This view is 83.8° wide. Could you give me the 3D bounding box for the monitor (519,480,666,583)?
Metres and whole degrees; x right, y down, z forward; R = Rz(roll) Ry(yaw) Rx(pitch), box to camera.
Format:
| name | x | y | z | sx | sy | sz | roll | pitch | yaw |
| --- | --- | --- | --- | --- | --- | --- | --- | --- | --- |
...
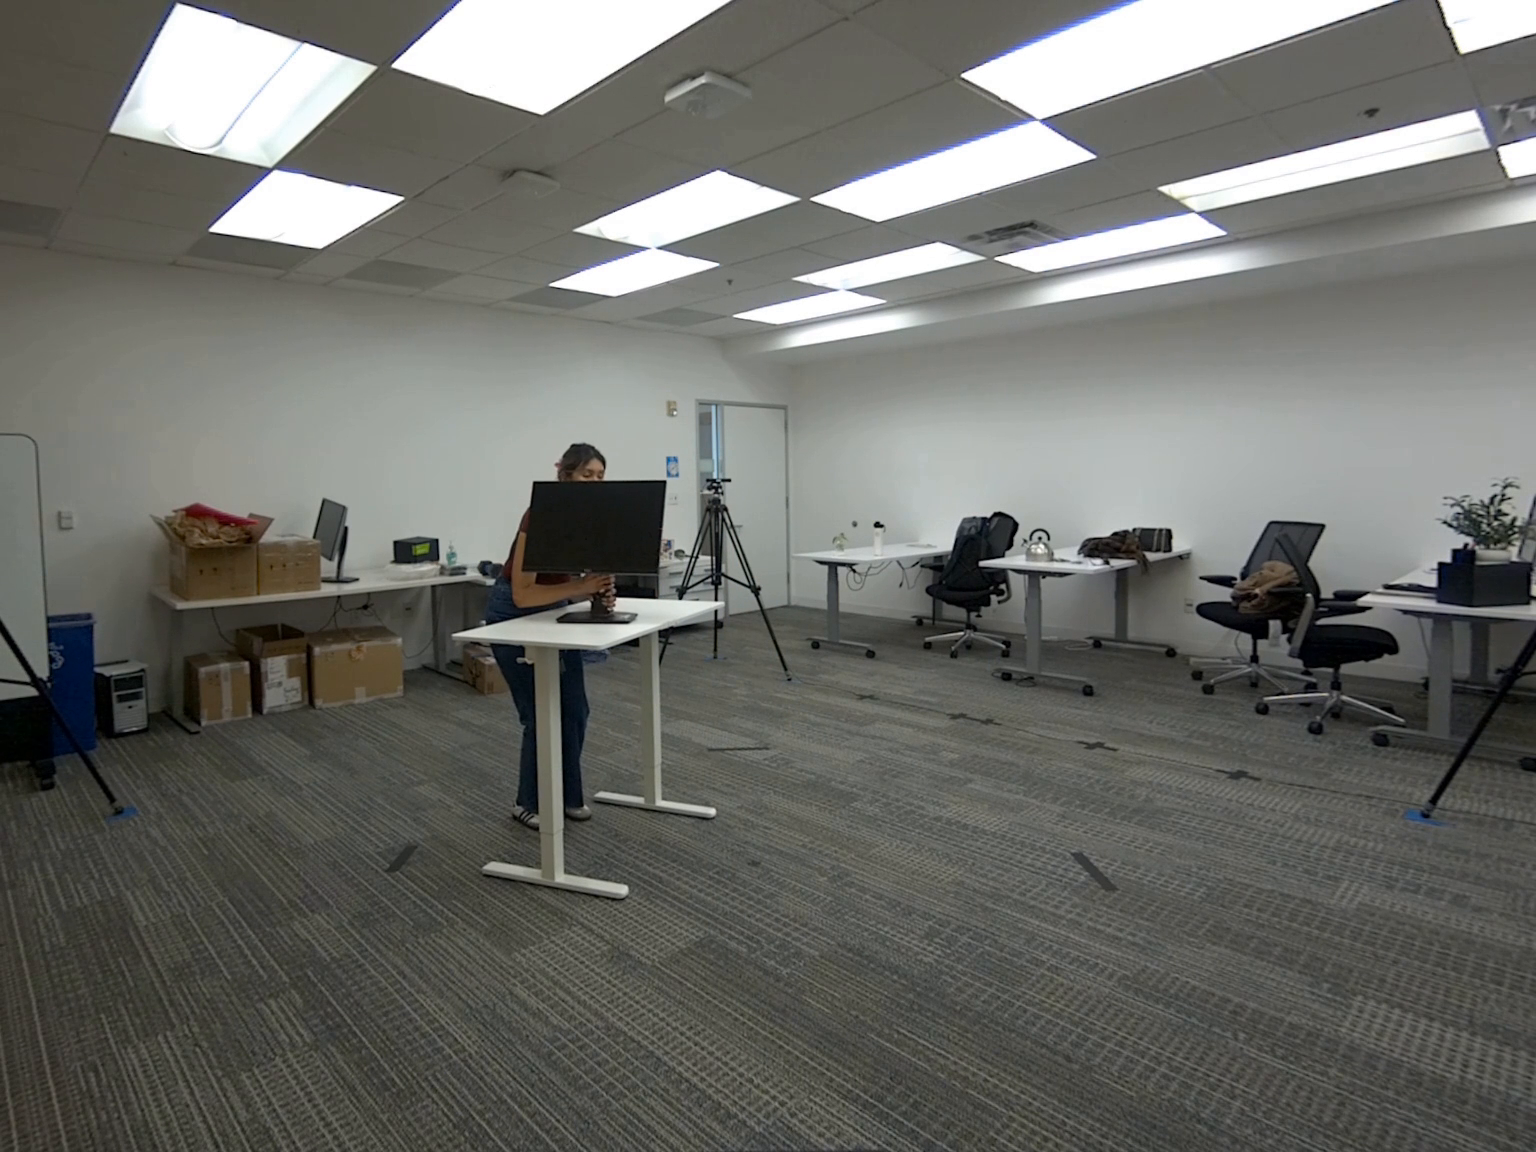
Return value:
| name | x | y | z | sx | sy | sz | roll | pitch | yaw |
| --- | --- | --- | --- | --- | --- | --- | --- | --- | --- |
| monitor | -0.636 | -0.093 | 3.180 | 0.546 | 0.521 | 0.185 | 1 | 2 | 13 |
